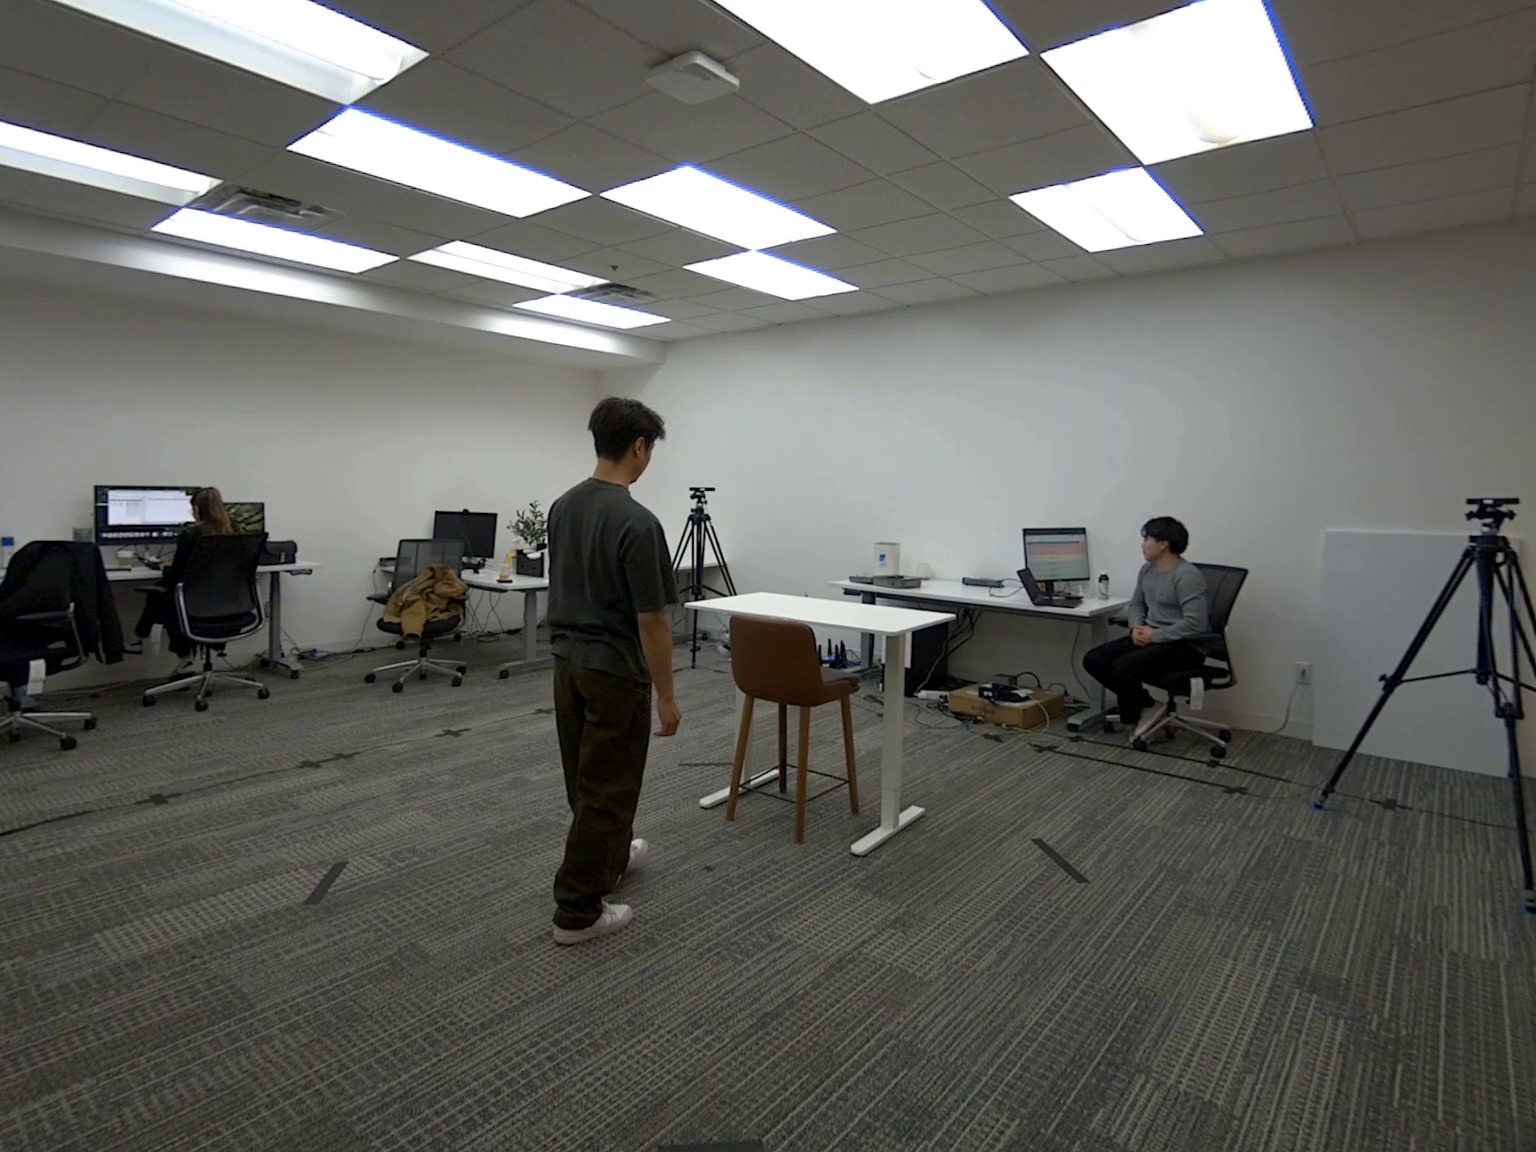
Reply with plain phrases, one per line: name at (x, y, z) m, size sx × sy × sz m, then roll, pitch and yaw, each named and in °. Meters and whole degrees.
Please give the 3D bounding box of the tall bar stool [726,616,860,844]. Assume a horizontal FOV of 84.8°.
tall bar stool at (0.101, 0.588, 3.610) m, size 0.471 × 0.886 × 0.455 m, roll 3°, pitch 6°, yaw 36°
